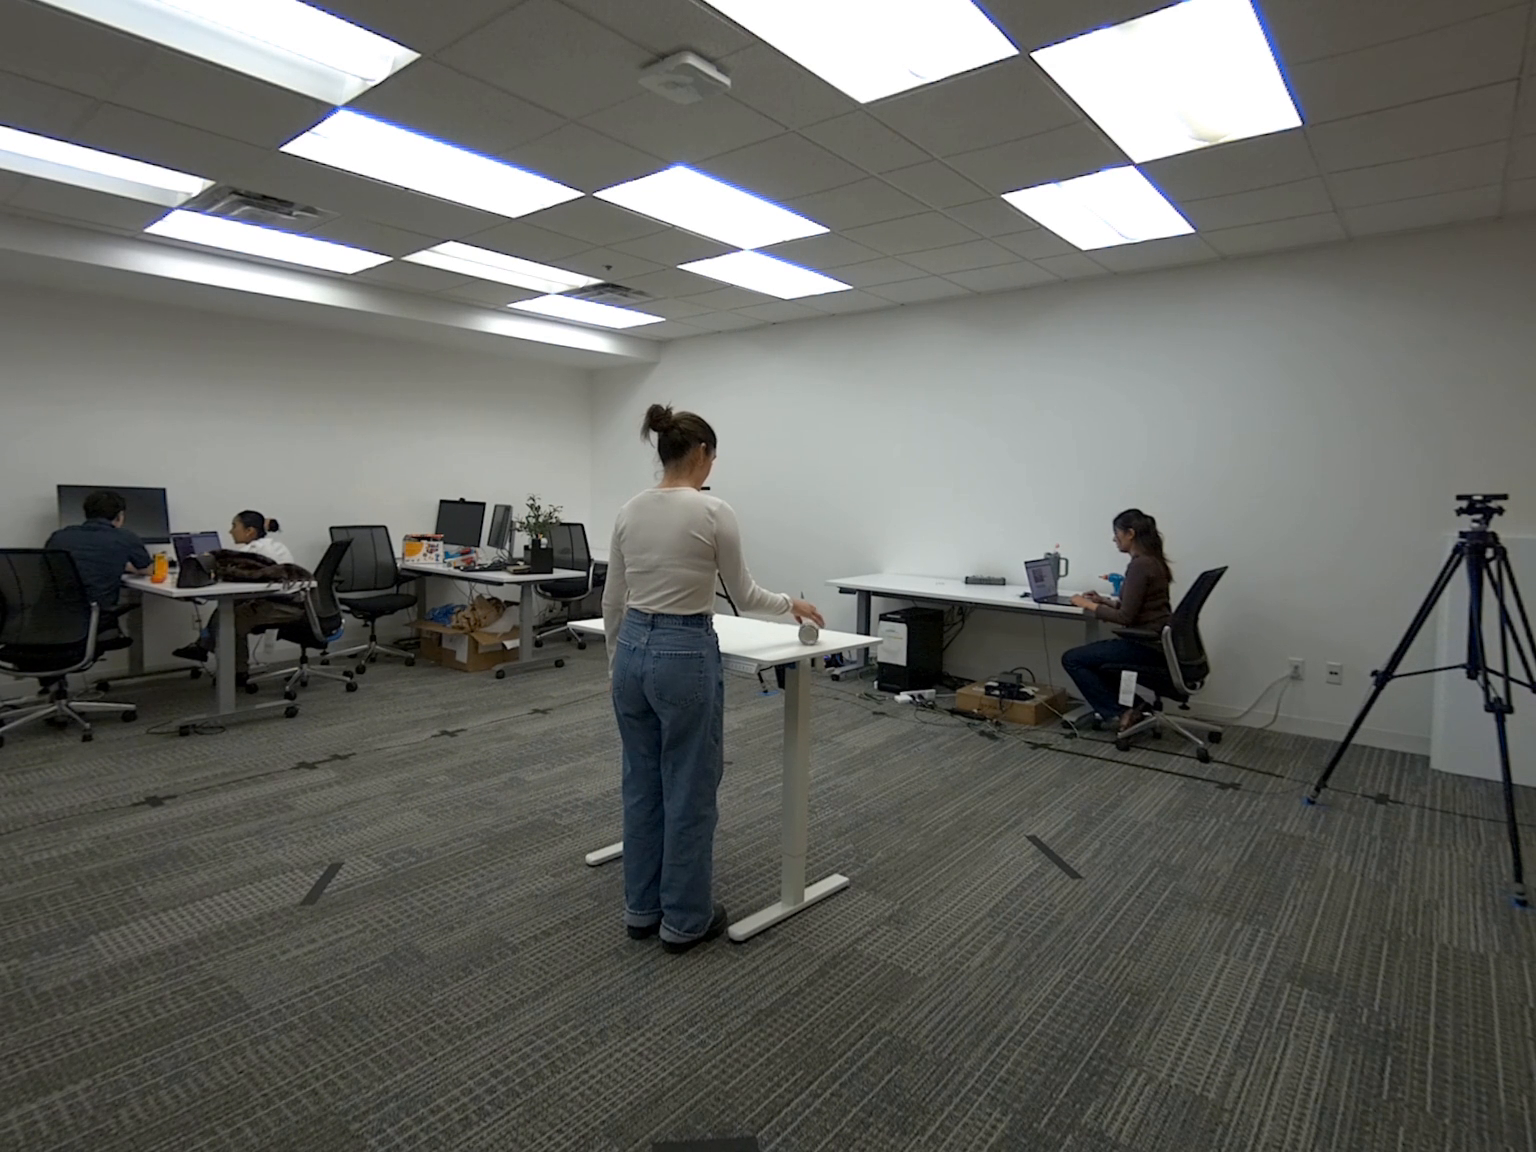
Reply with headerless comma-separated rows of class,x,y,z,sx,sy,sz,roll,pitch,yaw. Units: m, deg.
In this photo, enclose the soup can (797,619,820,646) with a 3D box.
soup can,0.118,0.179,2.817,0.121,0.067,0.067,2,4,-4
